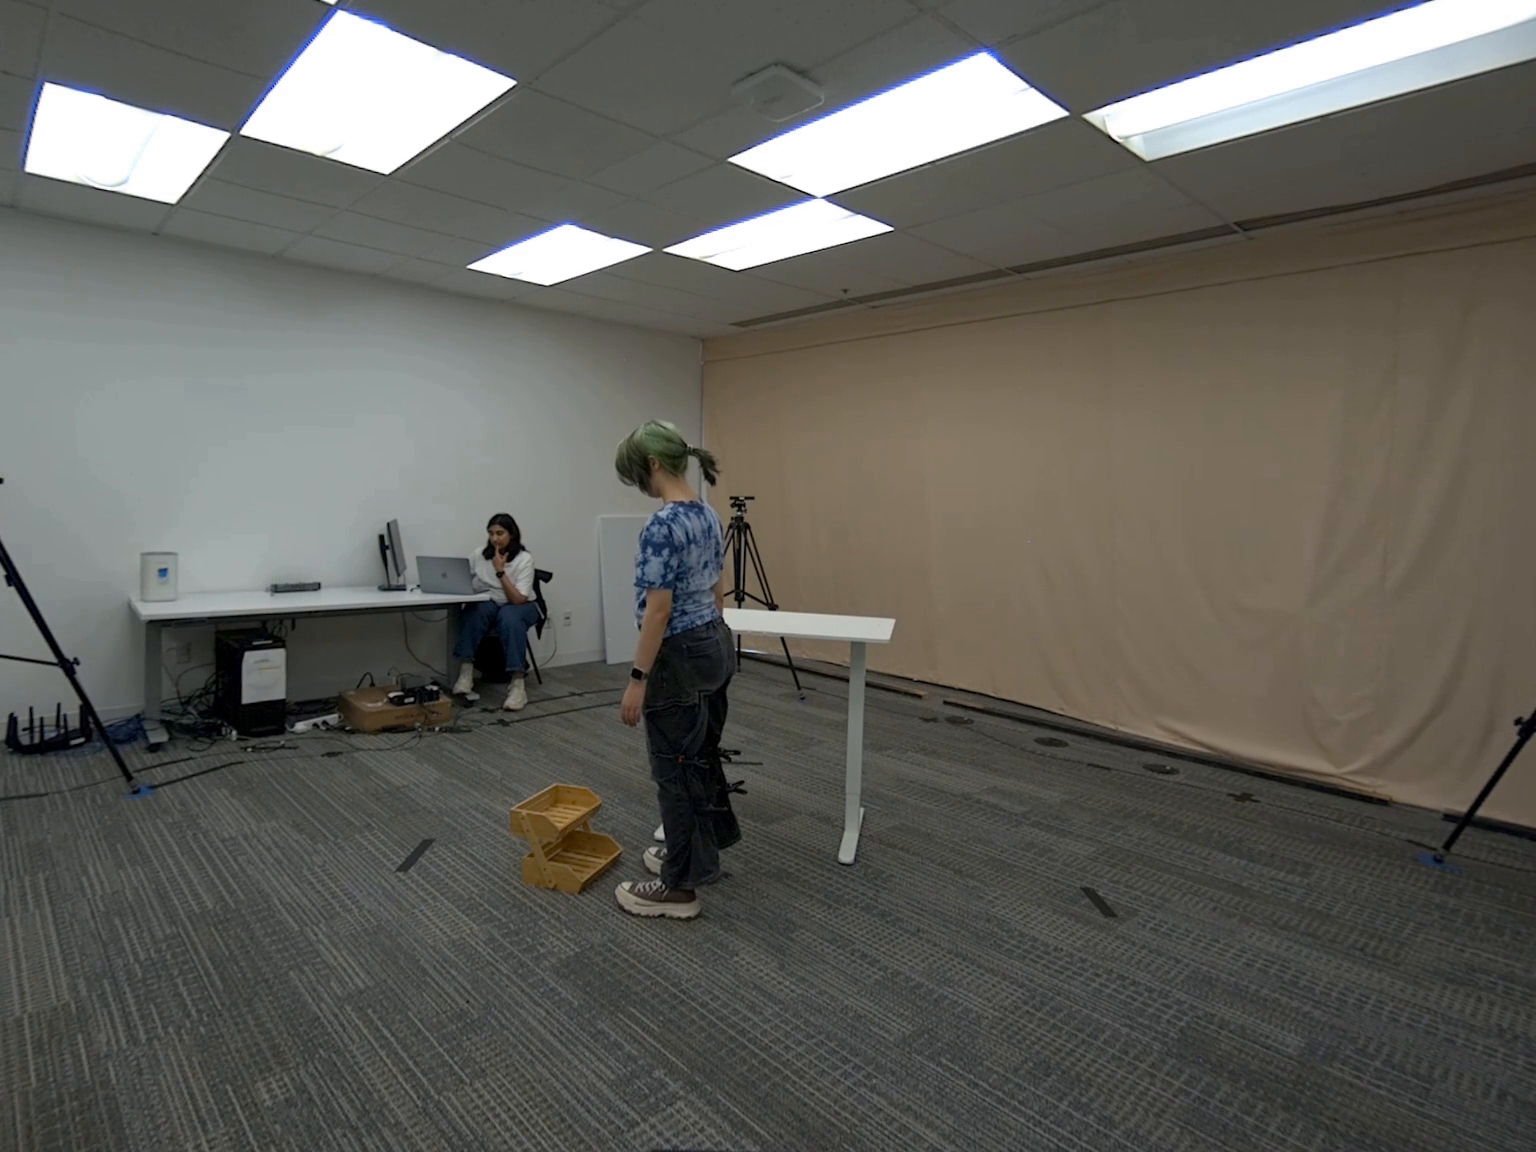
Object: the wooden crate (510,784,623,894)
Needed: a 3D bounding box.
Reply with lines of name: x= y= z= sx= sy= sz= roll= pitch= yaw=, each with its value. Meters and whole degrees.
wooden crate: x=-0.741 y=0.958 z=3.108 sx=0.307 sy=0.272 sz=0.320 roll=3 pitch=5 yaw=19
